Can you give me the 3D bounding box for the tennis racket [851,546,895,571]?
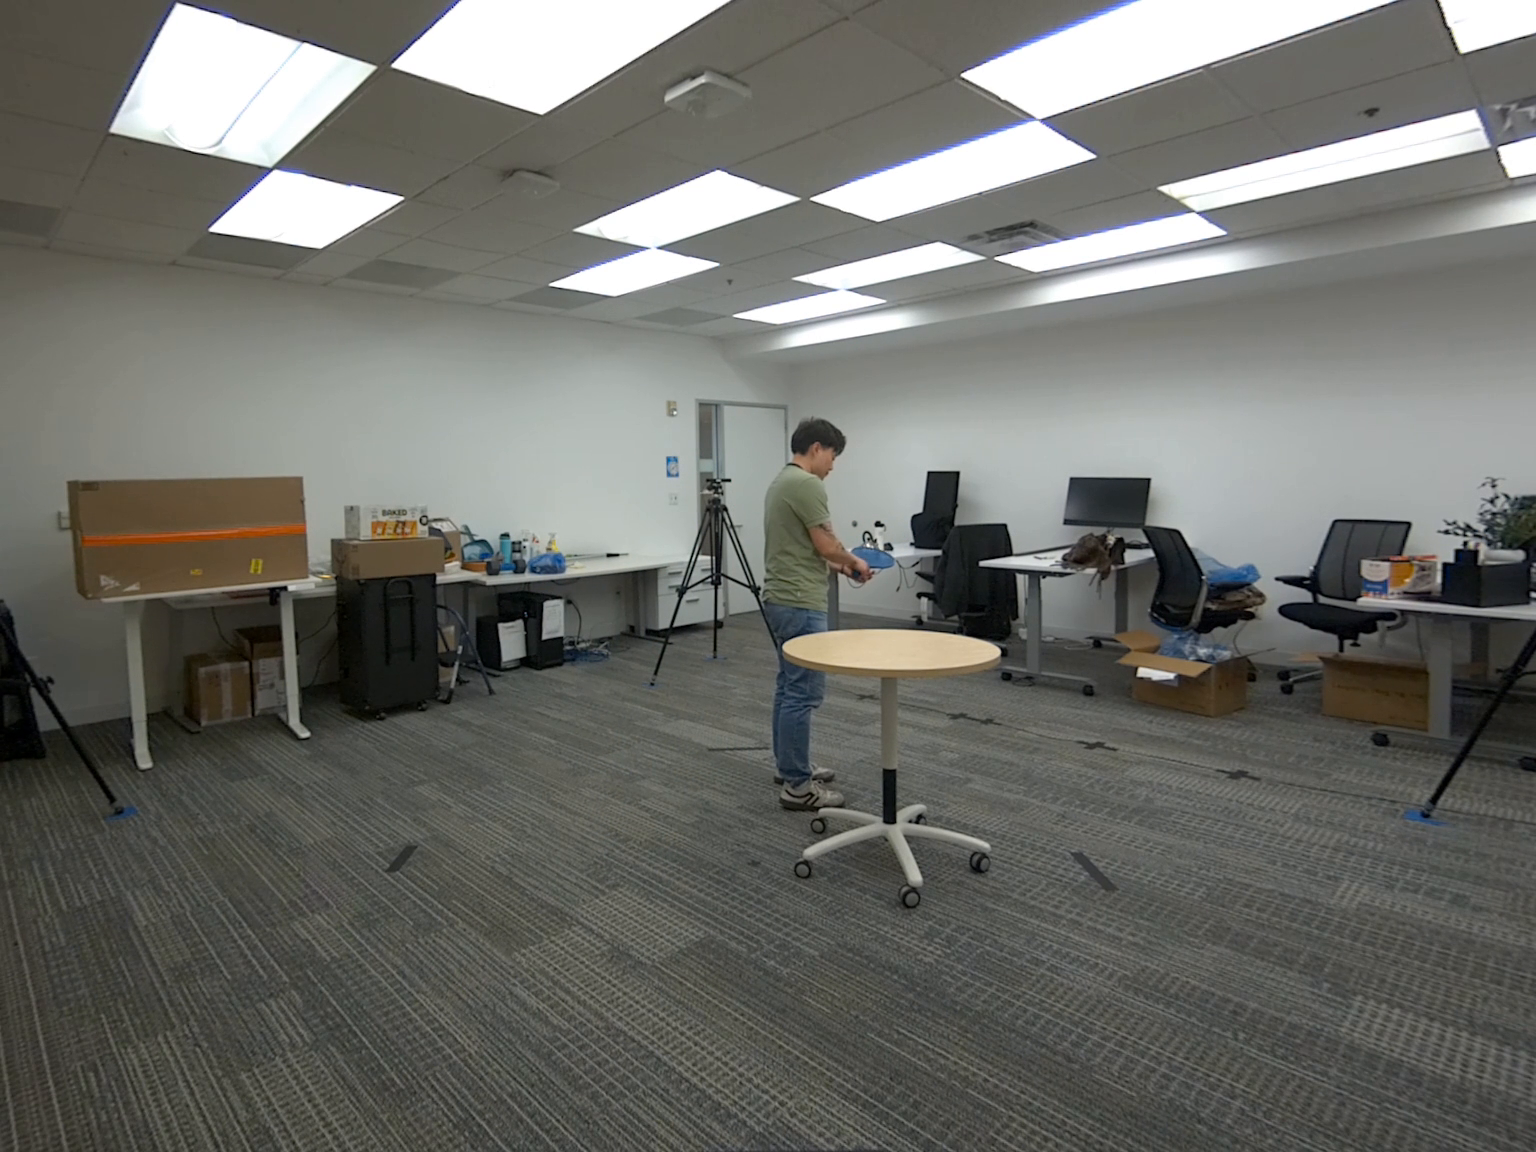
[{"bbox_3d":[0.471,-0.066,4.041,0.218,0.031,0.430,18,24,15],"label":"tennis racket"}]
